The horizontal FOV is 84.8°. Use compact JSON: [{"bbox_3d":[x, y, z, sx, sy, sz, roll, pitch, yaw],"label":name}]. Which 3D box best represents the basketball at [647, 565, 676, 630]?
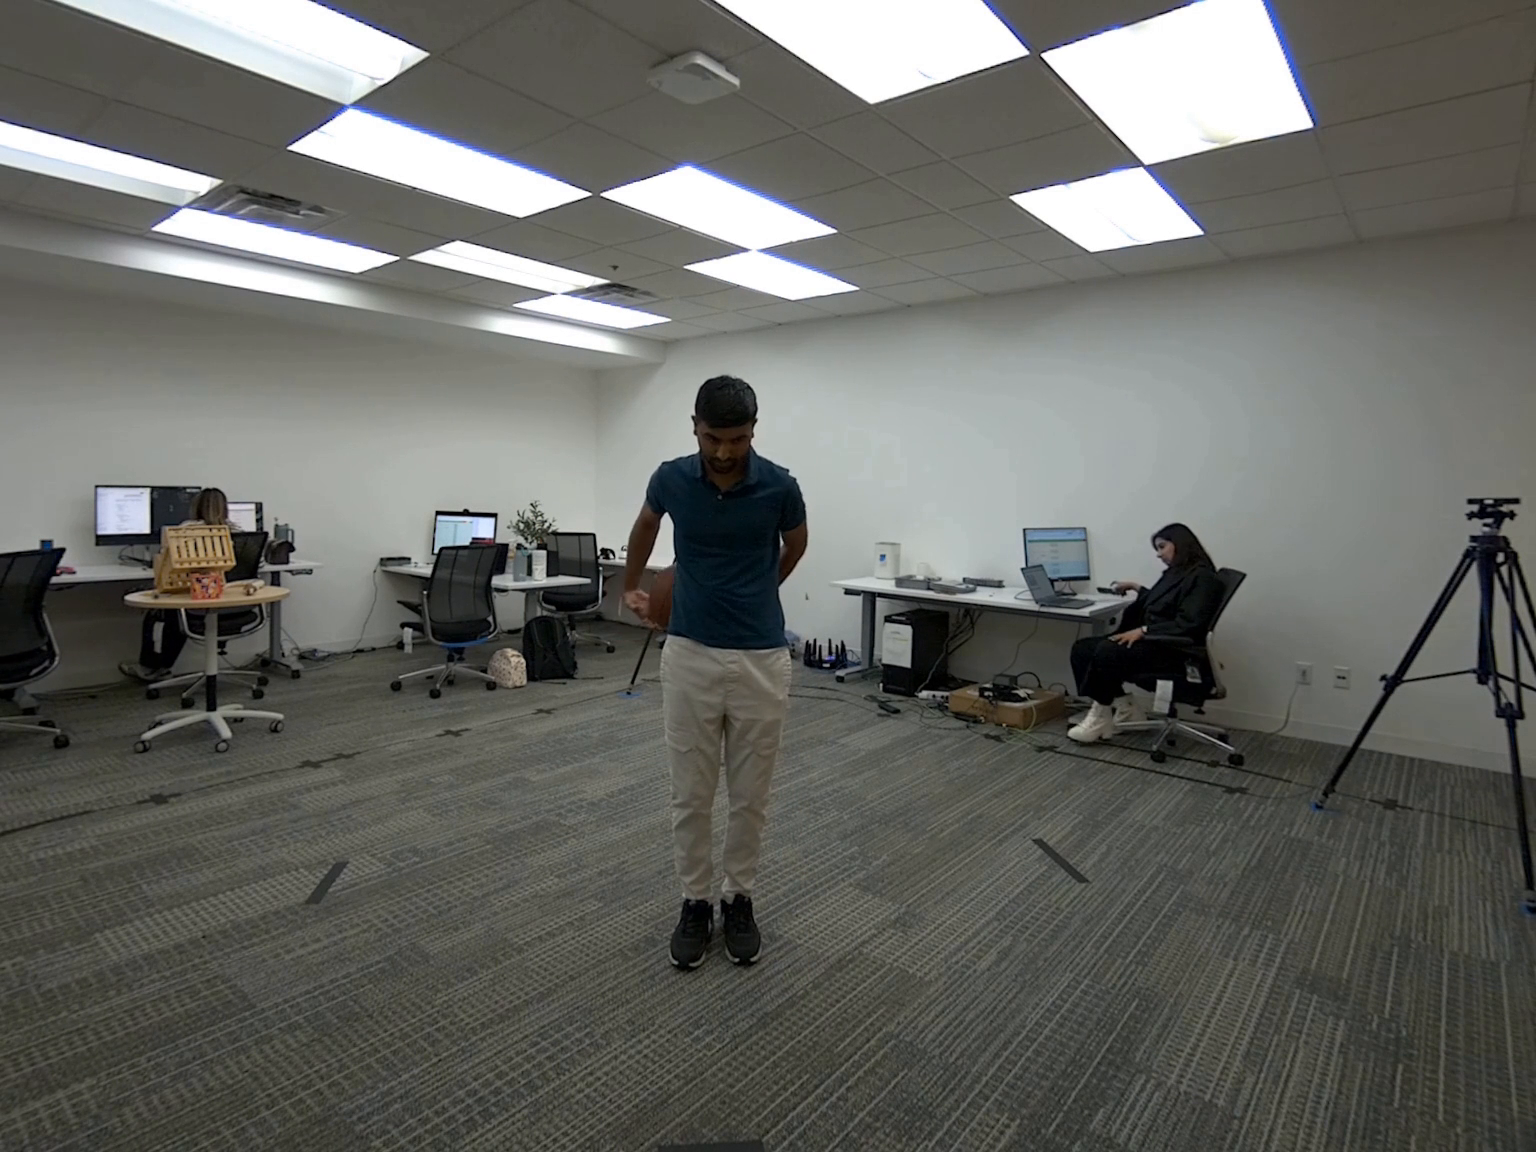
[{"bbox_3d":[-0.263,0.064,2.727,0.235,0.235,0.237,1,4,-2],"label":"basketball"}]
